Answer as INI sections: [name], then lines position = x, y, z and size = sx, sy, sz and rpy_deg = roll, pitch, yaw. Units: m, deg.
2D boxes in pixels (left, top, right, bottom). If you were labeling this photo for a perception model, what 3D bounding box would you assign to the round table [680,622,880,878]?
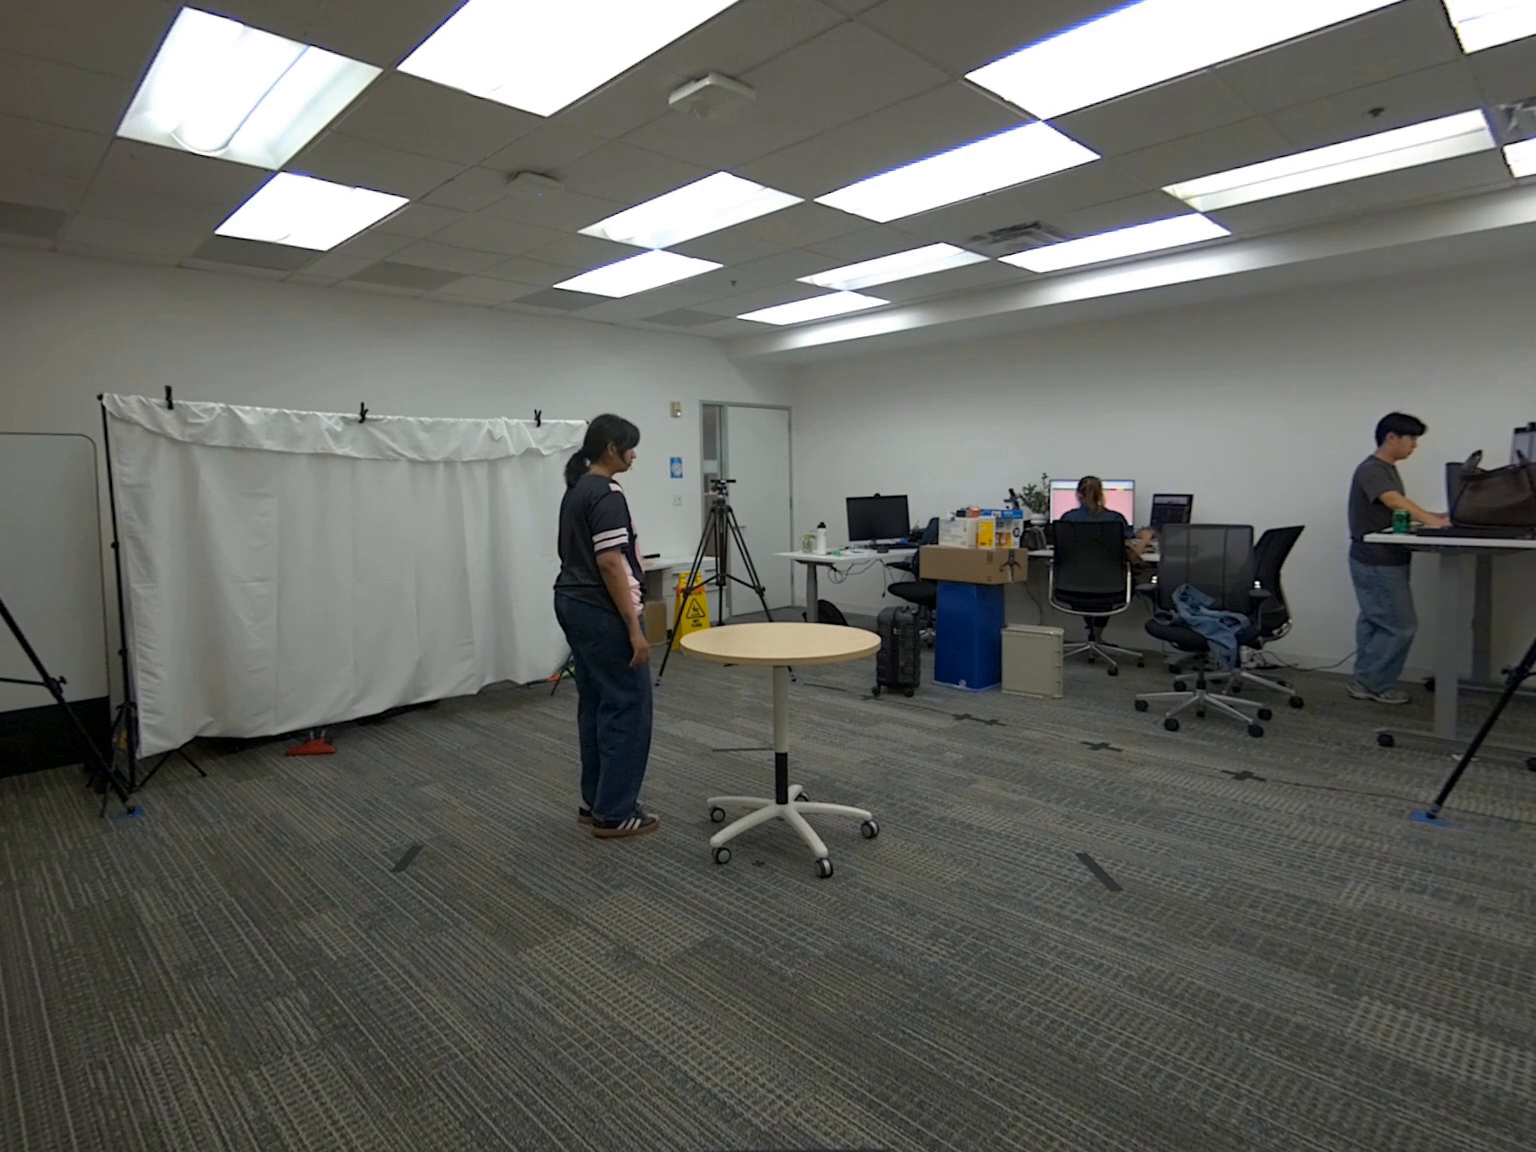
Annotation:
[round table]
position = 0.055, 0.637, 3.297
size = 0.763, 0.791, 0.767
rpy_deg = -1, 4, -2
